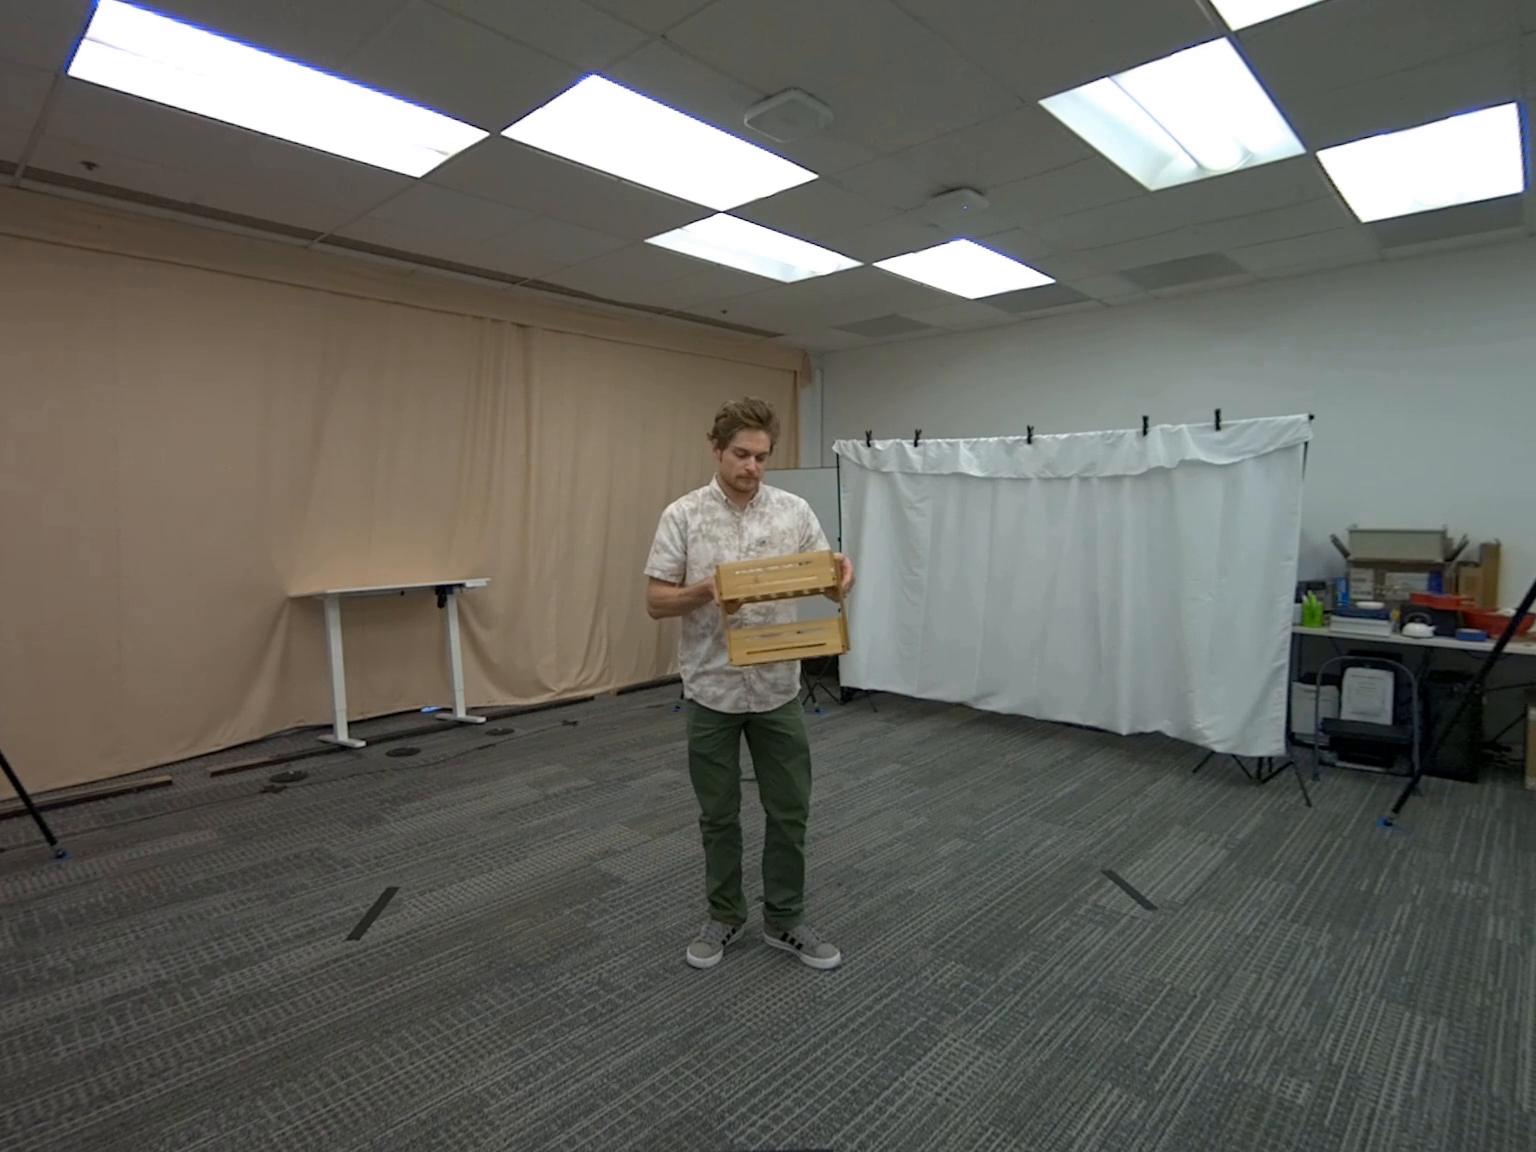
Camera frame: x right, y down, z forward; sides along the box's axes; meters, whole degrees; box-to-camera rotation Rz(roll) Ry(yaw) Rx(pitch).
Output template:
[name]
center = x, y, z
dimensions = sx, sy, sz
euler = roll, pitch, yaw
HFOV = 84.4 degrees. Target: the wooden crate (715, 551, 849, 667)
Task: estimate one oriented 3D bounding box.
[wooden crate]
center = 0.040, 0.094, 2.268
dimensions = 0.326, 0.275, 0.298
euler = -7, -7, 5
